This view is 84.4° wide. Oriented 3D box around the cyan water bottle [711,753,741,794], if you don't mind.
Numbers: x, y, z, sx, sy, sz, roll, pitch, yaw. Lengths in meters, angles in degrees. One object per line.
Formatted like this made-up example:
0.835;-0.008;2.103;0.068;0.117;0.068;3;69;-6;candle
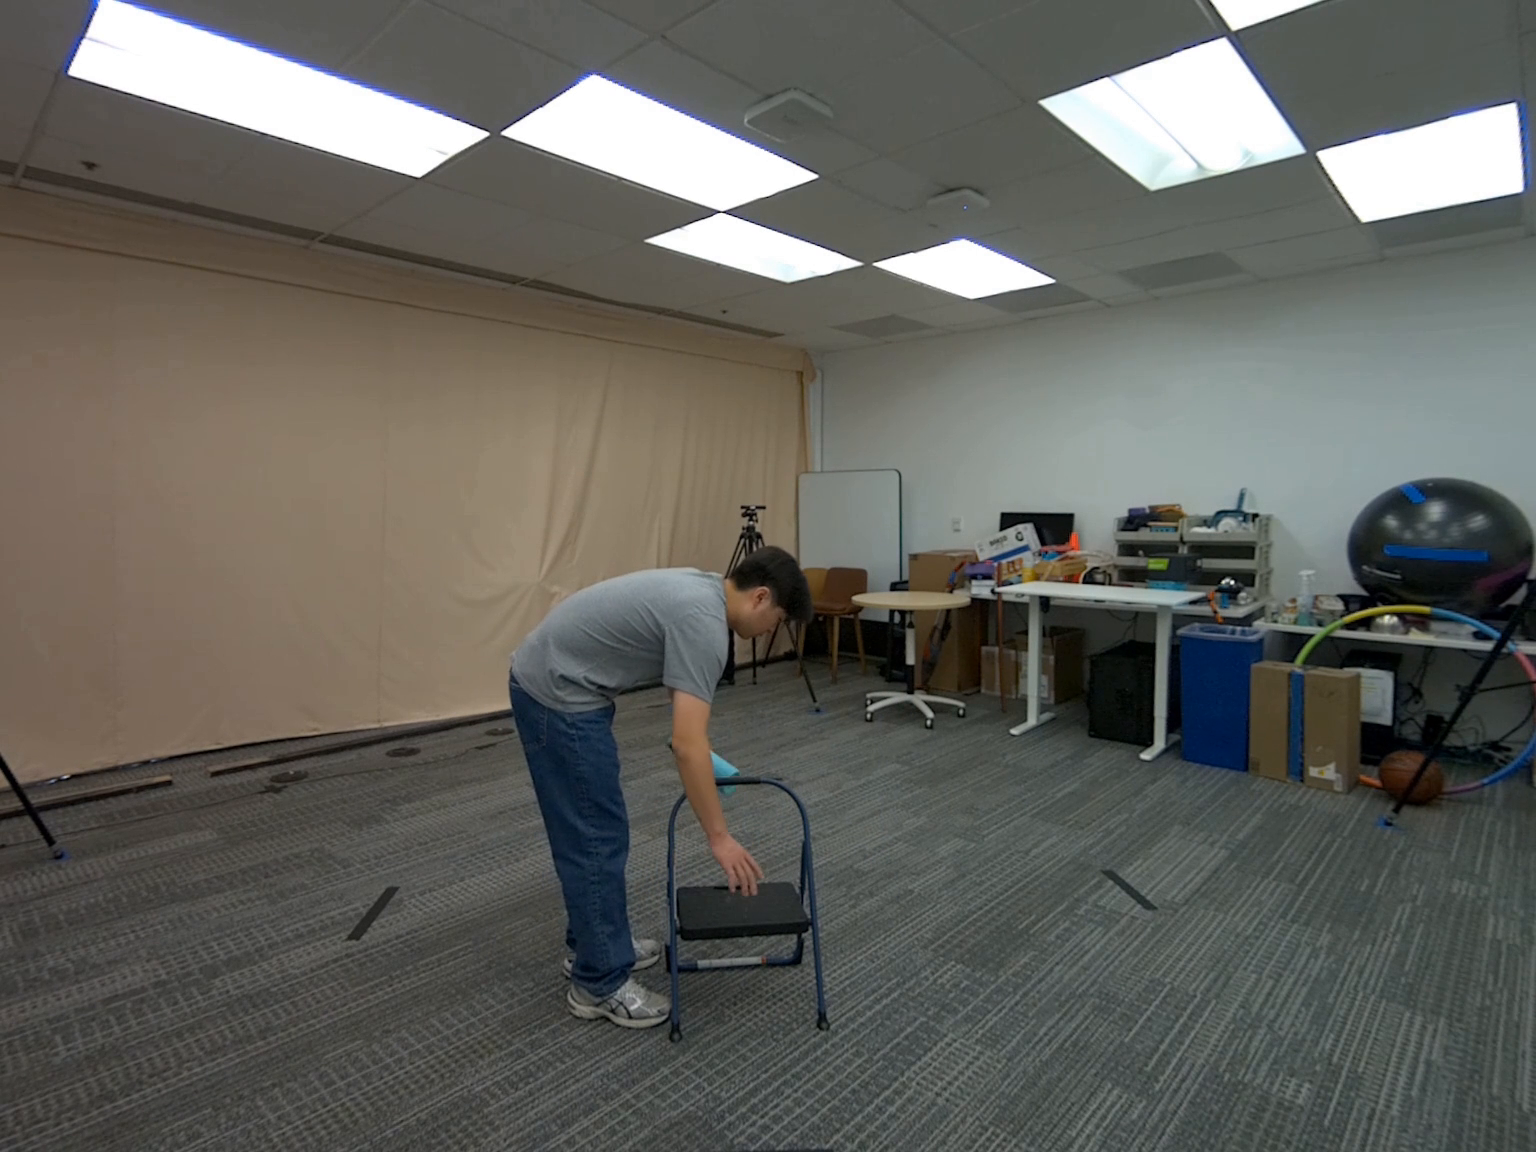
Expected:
-0.220;0.625;2.800;0.293;0.092;0.089;29;20;34;cyan water bottle
